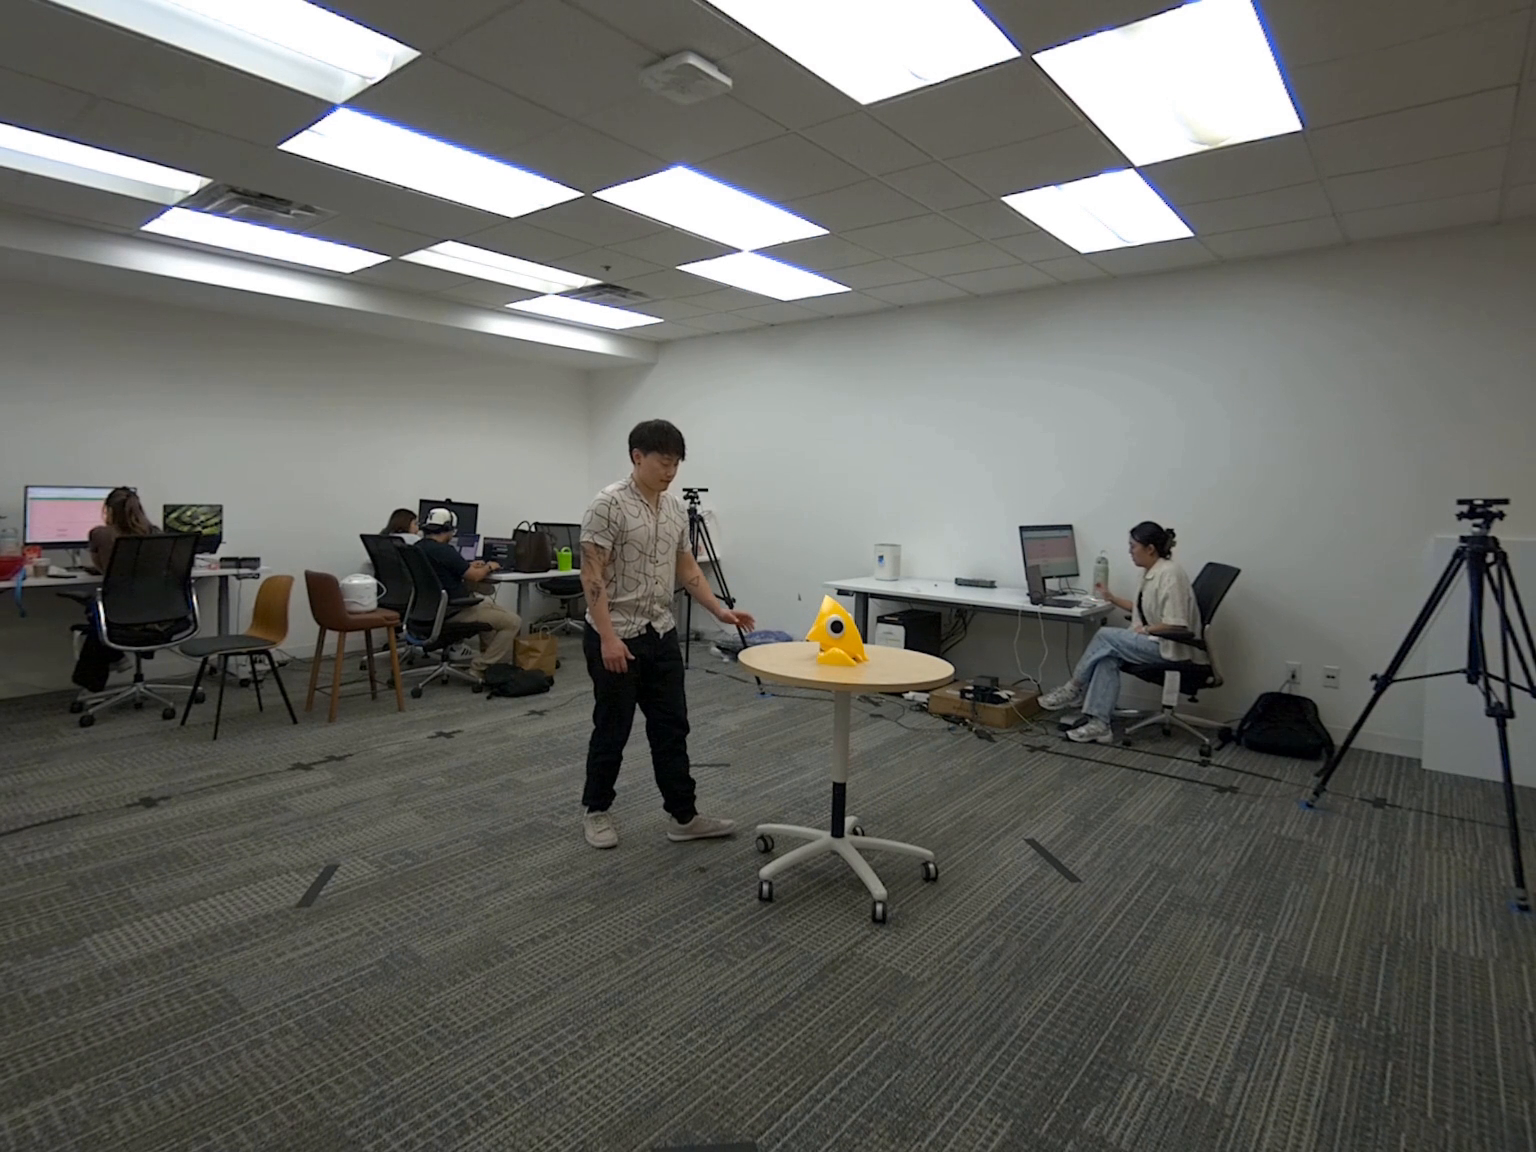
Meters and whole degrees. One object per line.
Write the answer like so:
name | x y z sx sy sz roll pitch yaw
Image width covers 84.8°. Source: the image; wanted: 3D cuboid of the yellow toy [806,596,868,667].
yellow toy | 0.254 0.189 3.063 0.198 0.230 0.199 5 4 27
